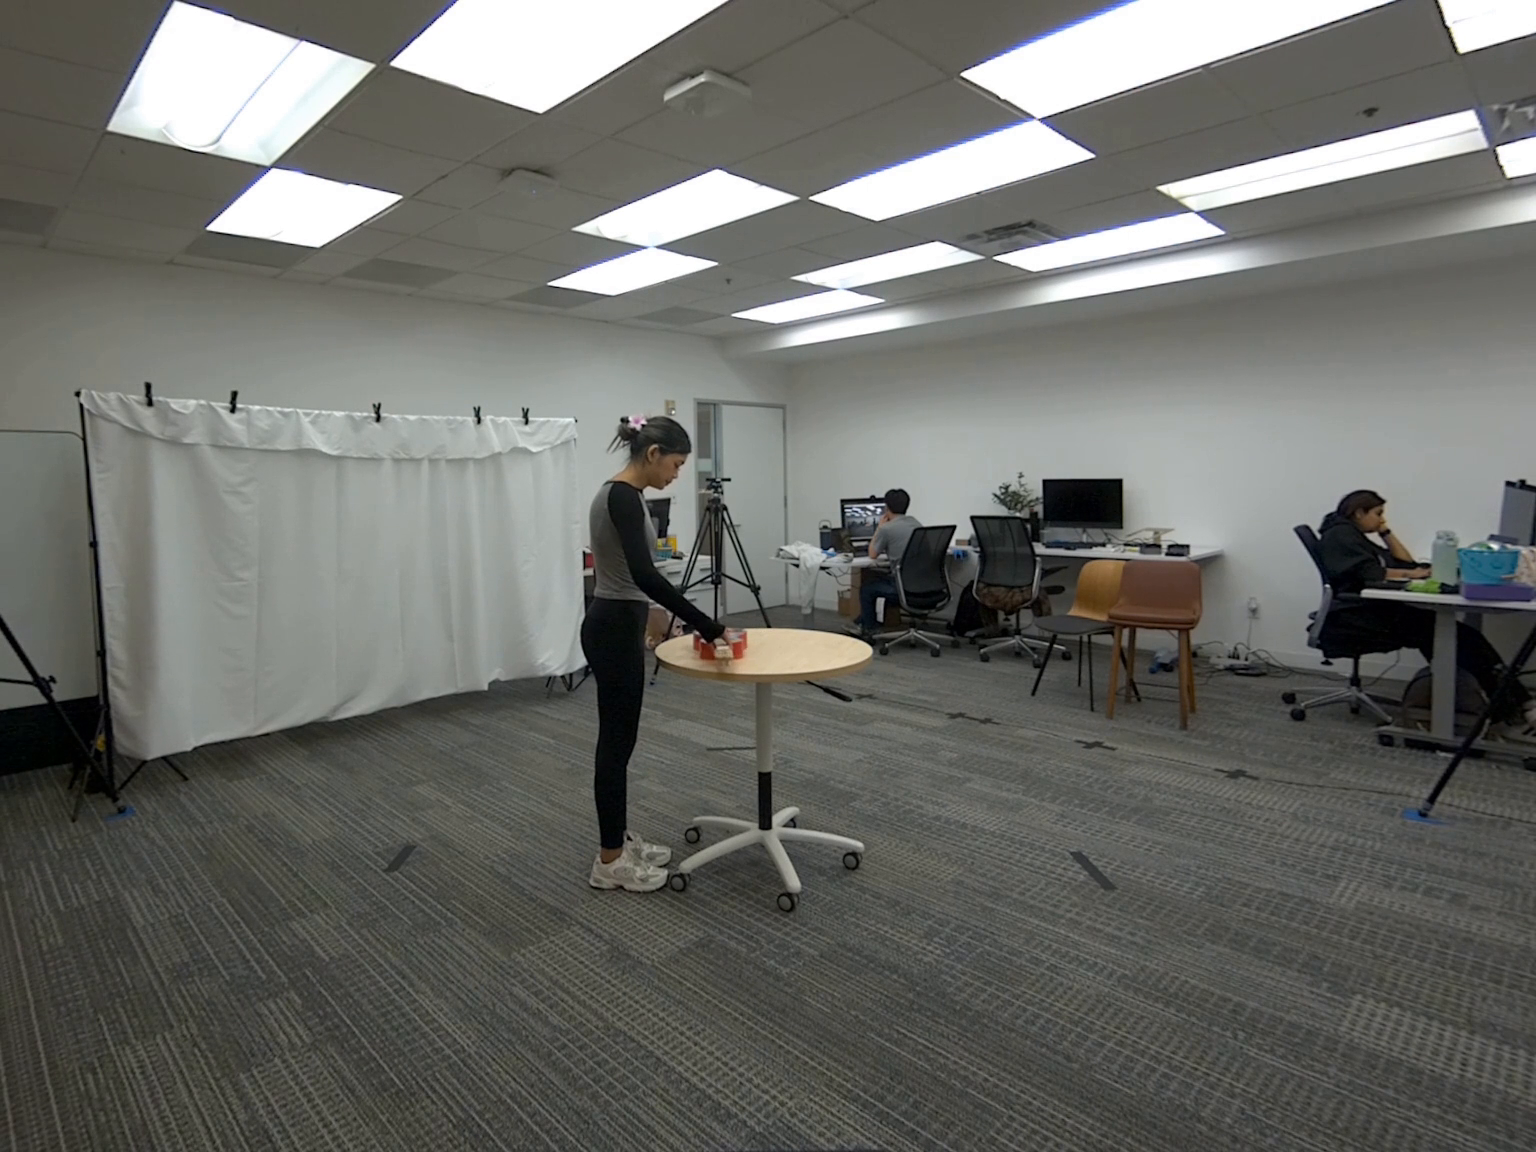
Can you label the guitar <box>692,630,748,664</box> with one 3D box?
[{"bbox_3d":[-0.185,0.244,2.855,0.194,0.070,0.497,0,6,4],"label":"guitar"}]
